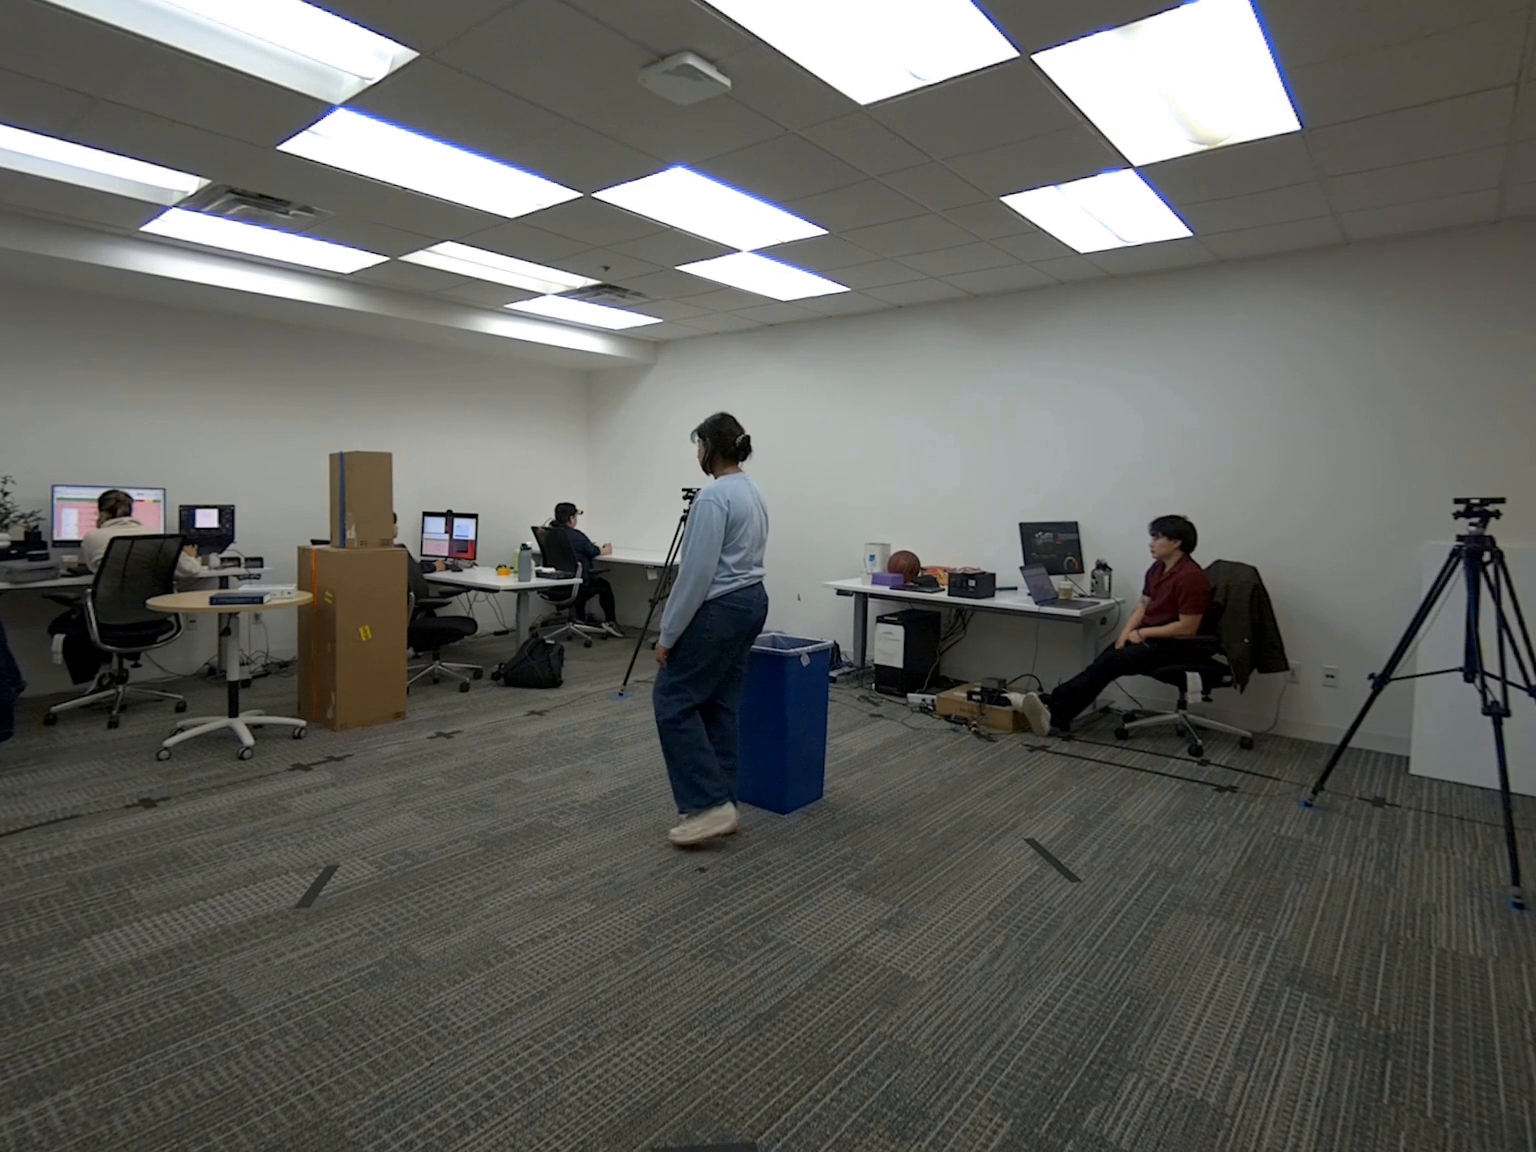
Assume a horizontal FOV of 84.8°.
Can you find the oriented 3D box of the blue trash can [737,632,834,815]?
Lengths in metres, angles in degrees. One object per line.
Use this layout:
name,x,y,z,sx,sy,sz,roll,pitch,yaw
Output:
blue trash can,0.037,0.647,3.844,0.386,0.712,0.367,4,4,39
